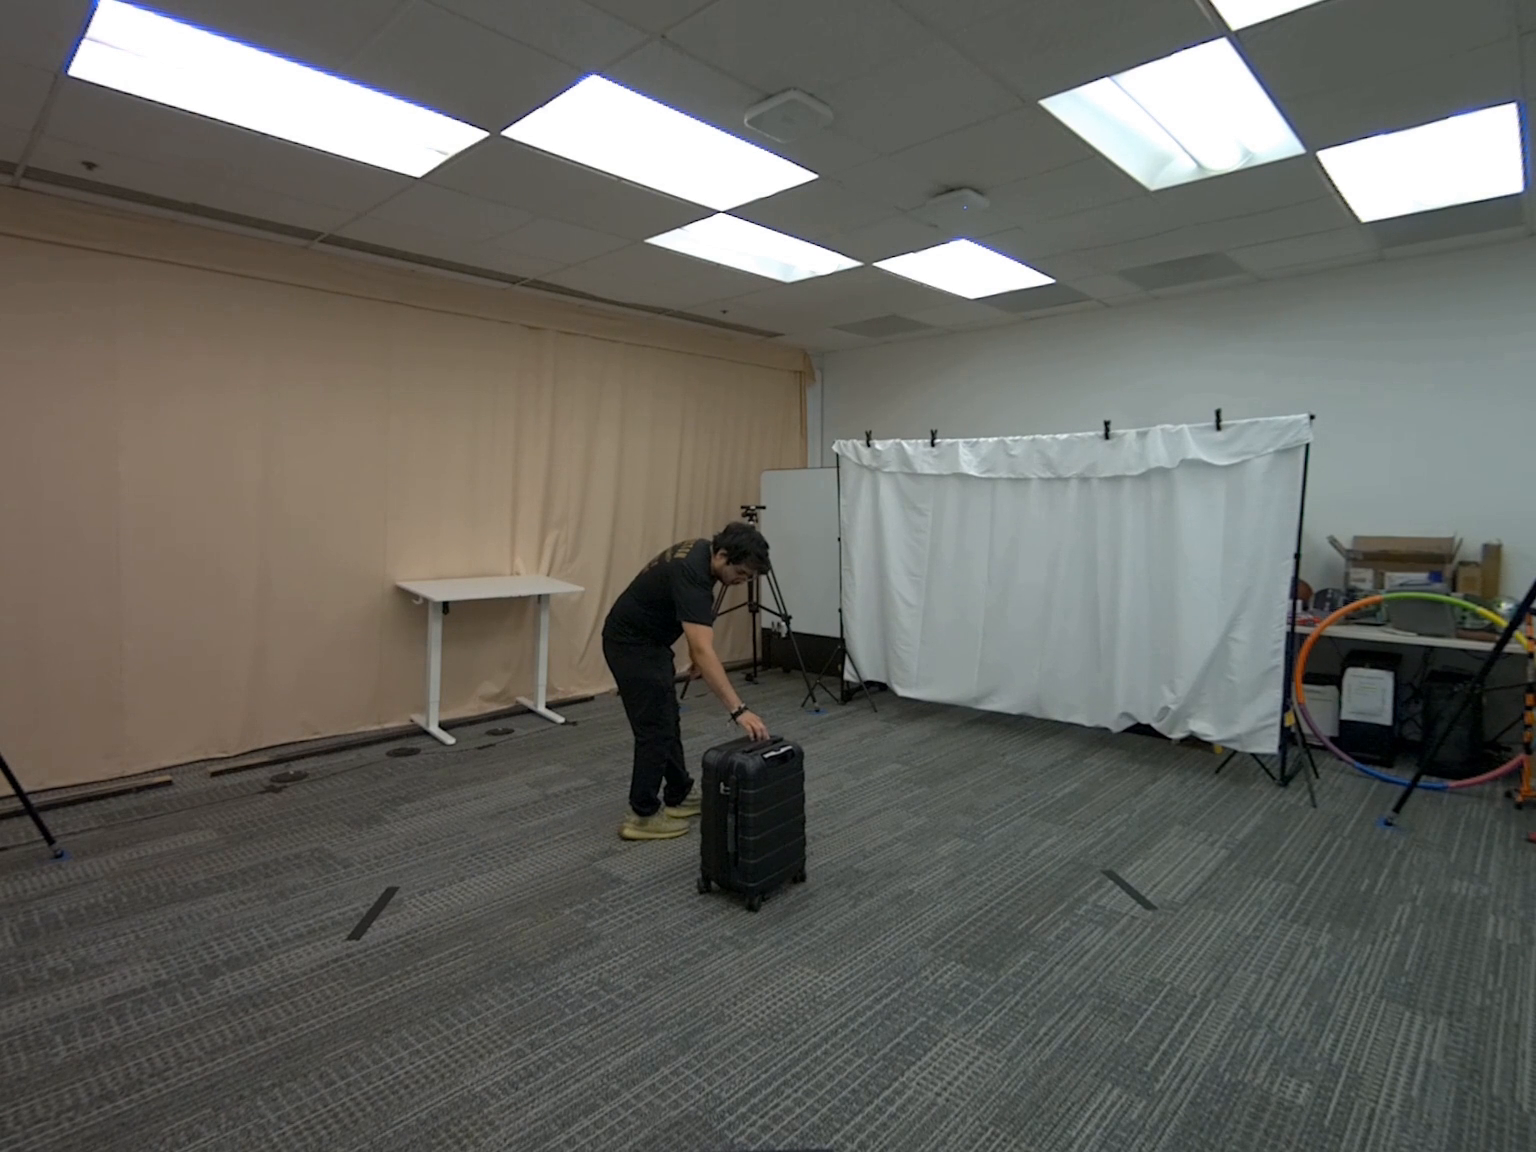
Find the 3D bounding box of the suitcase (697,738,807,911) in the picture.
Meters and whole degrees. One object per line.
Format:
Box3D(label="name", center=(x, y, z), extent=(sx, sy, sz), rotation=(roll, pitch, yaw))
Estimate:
Box3D(label="suitcase", center=(-0.052, 0.865, 3.041), extent=(0.256, 0.548, 0.364), rotation=(4, 6, 39))
